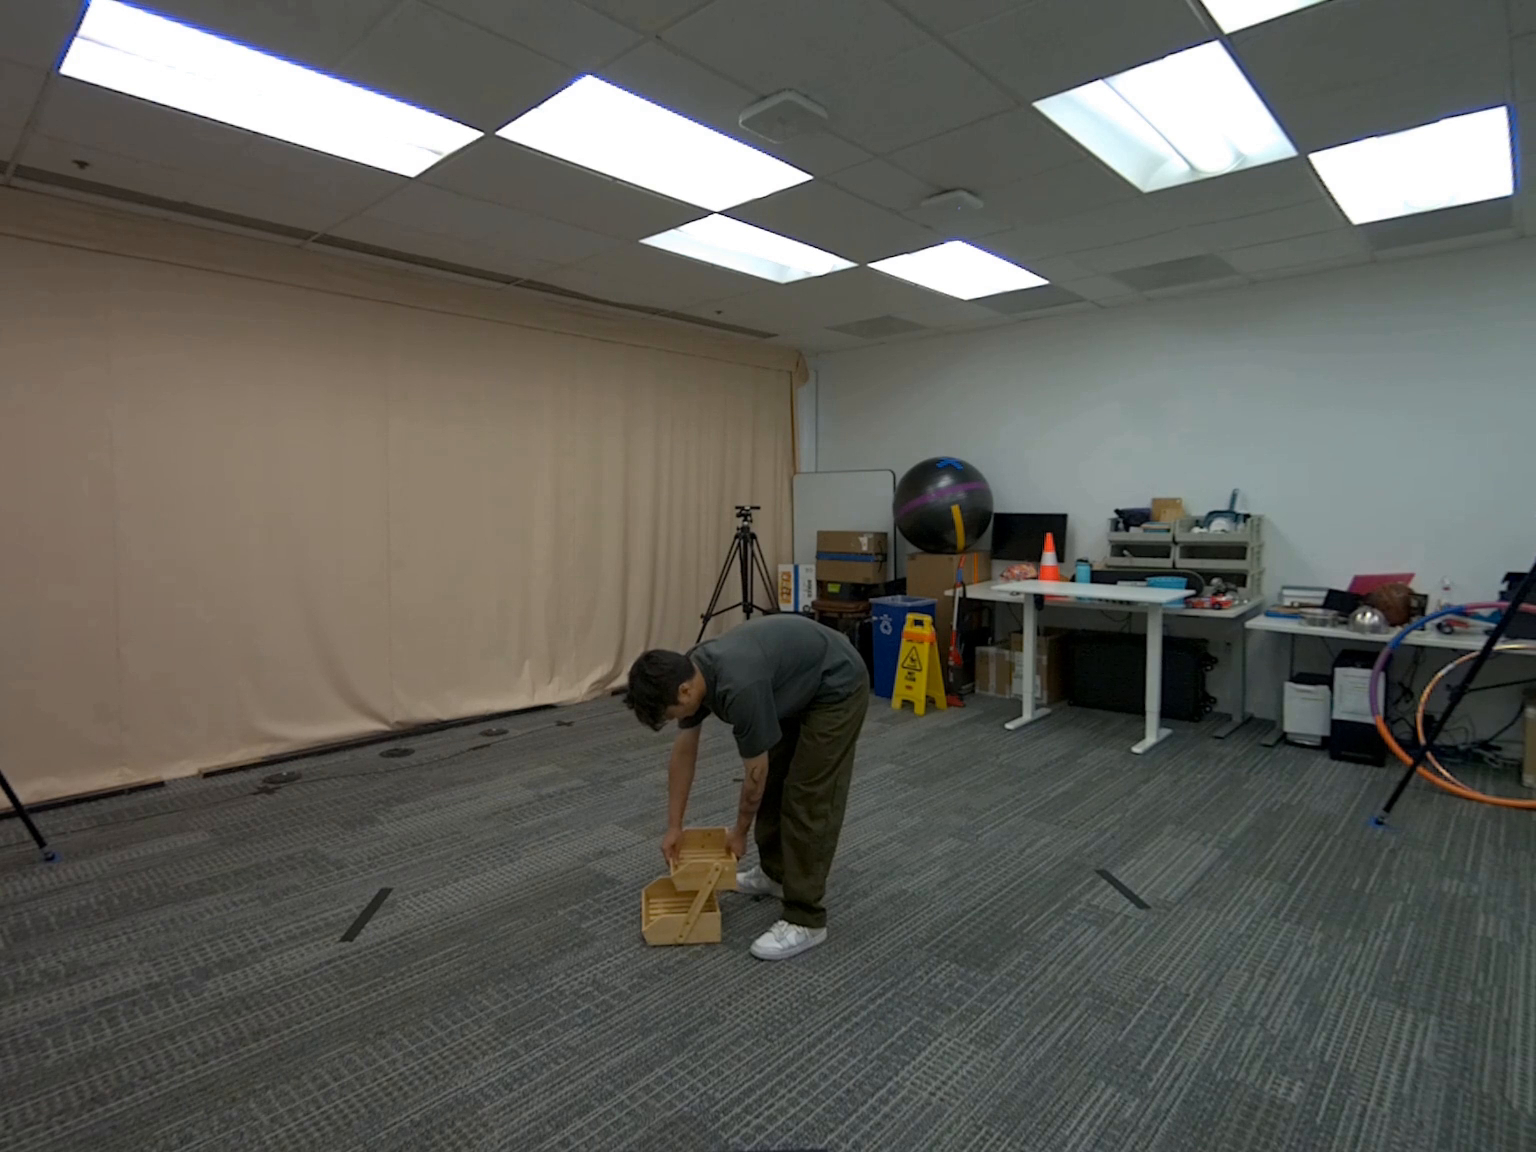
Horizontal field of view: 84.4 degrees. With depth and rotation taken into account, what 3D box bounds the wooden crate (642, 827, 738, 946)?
[{"bbox_3d":[-0.281,1.029,2.830,0.299,0.273,0.328,-1,3,-8],"label":"wooden crate"}]
